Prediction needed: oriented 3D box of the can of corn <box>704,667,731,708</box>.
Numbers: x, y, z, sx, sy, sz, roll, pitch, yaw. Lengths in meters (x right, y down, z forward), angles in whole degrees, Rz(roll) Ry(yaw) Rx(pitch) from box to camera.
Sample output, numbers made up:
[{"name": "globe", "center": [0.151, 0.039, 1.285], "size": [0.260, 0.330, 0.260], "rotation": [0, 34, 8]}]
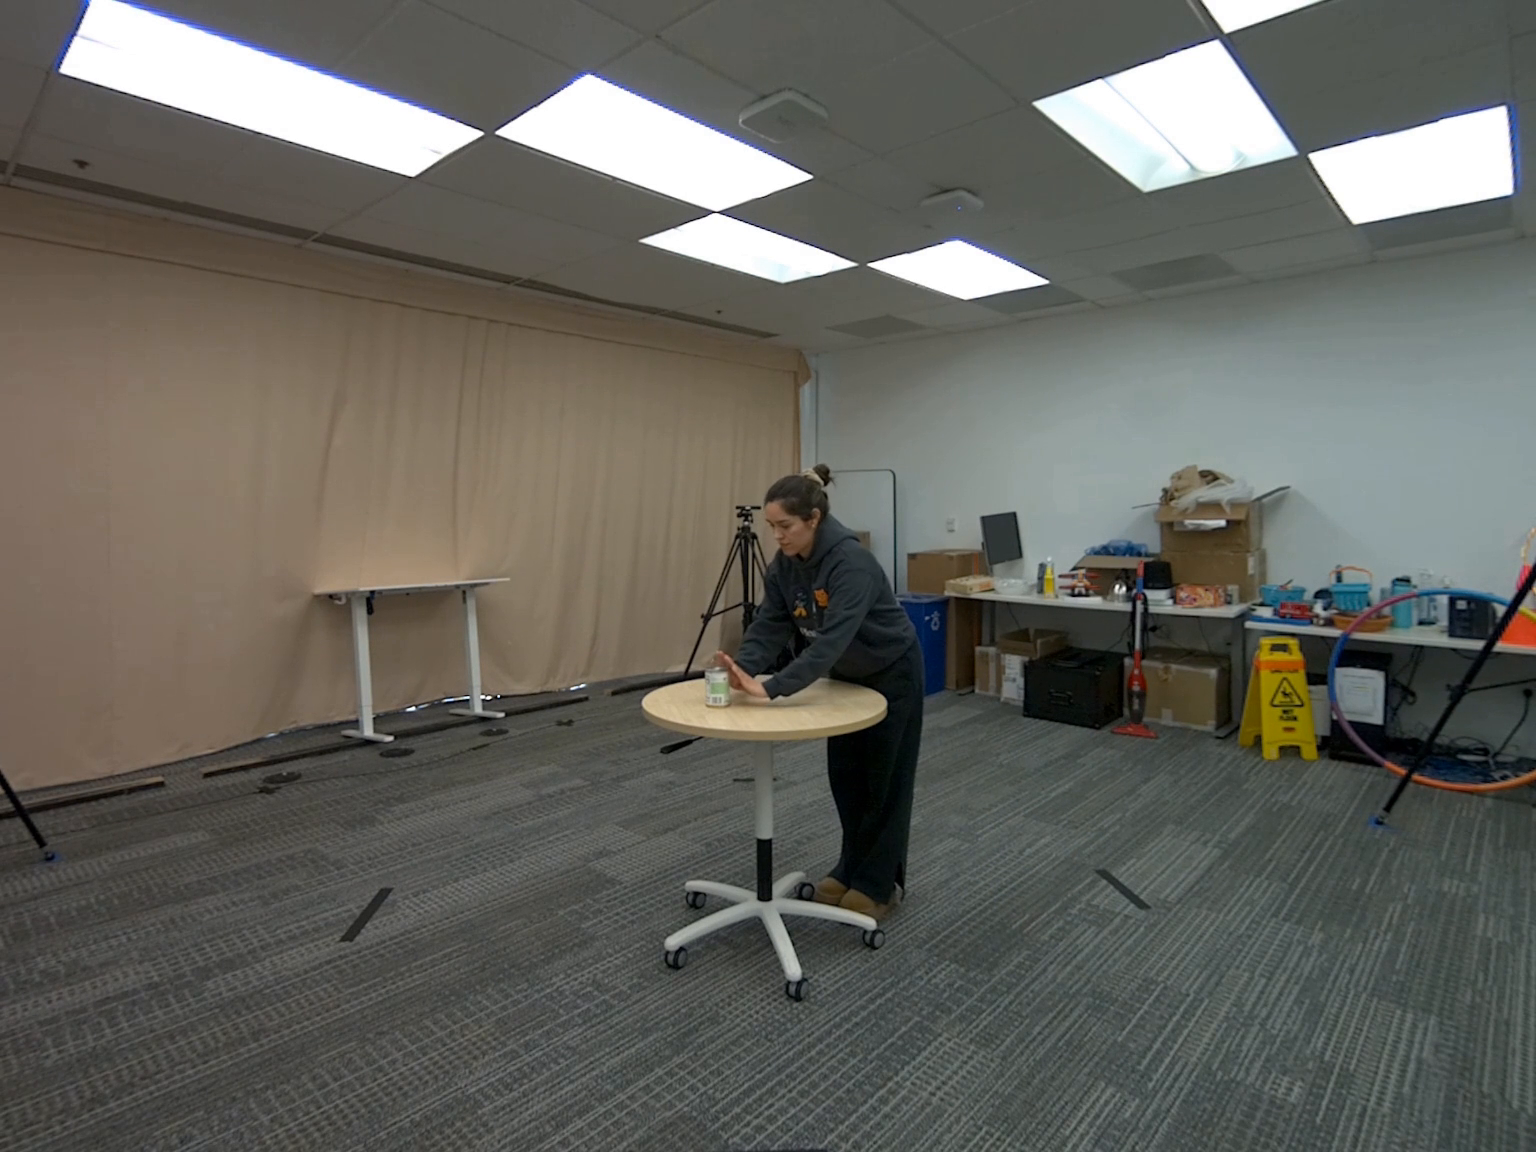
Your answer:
[{"name": "can of corn", "center": [-0.140, 0.341, 2.575], "size": [0.074, 0.111, 0.074], "rotation": [-1, 3, -2]}]
